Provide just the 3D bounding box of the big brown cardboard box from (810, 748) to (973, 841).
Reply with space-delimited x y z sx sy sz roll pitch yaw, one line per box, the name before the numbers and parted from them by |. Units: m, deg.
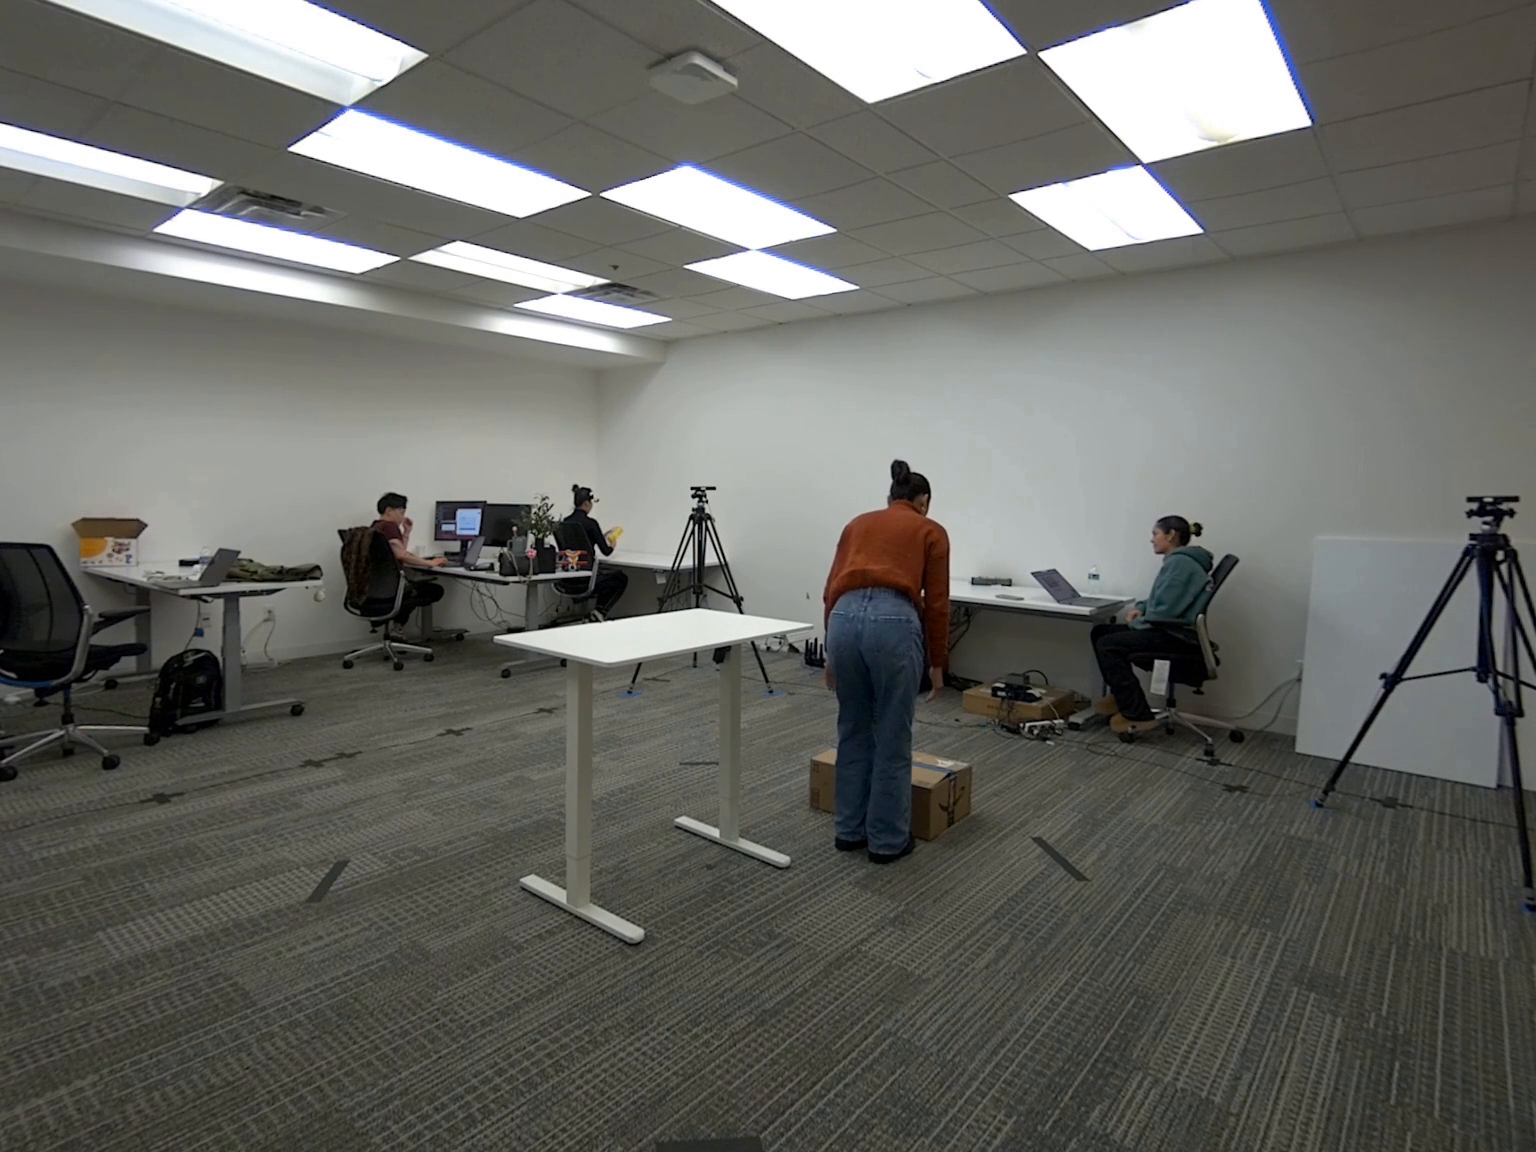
big brown cardboard box | 0.530 0.906 3.708 0.608 0.232 0.406 4 6 36
